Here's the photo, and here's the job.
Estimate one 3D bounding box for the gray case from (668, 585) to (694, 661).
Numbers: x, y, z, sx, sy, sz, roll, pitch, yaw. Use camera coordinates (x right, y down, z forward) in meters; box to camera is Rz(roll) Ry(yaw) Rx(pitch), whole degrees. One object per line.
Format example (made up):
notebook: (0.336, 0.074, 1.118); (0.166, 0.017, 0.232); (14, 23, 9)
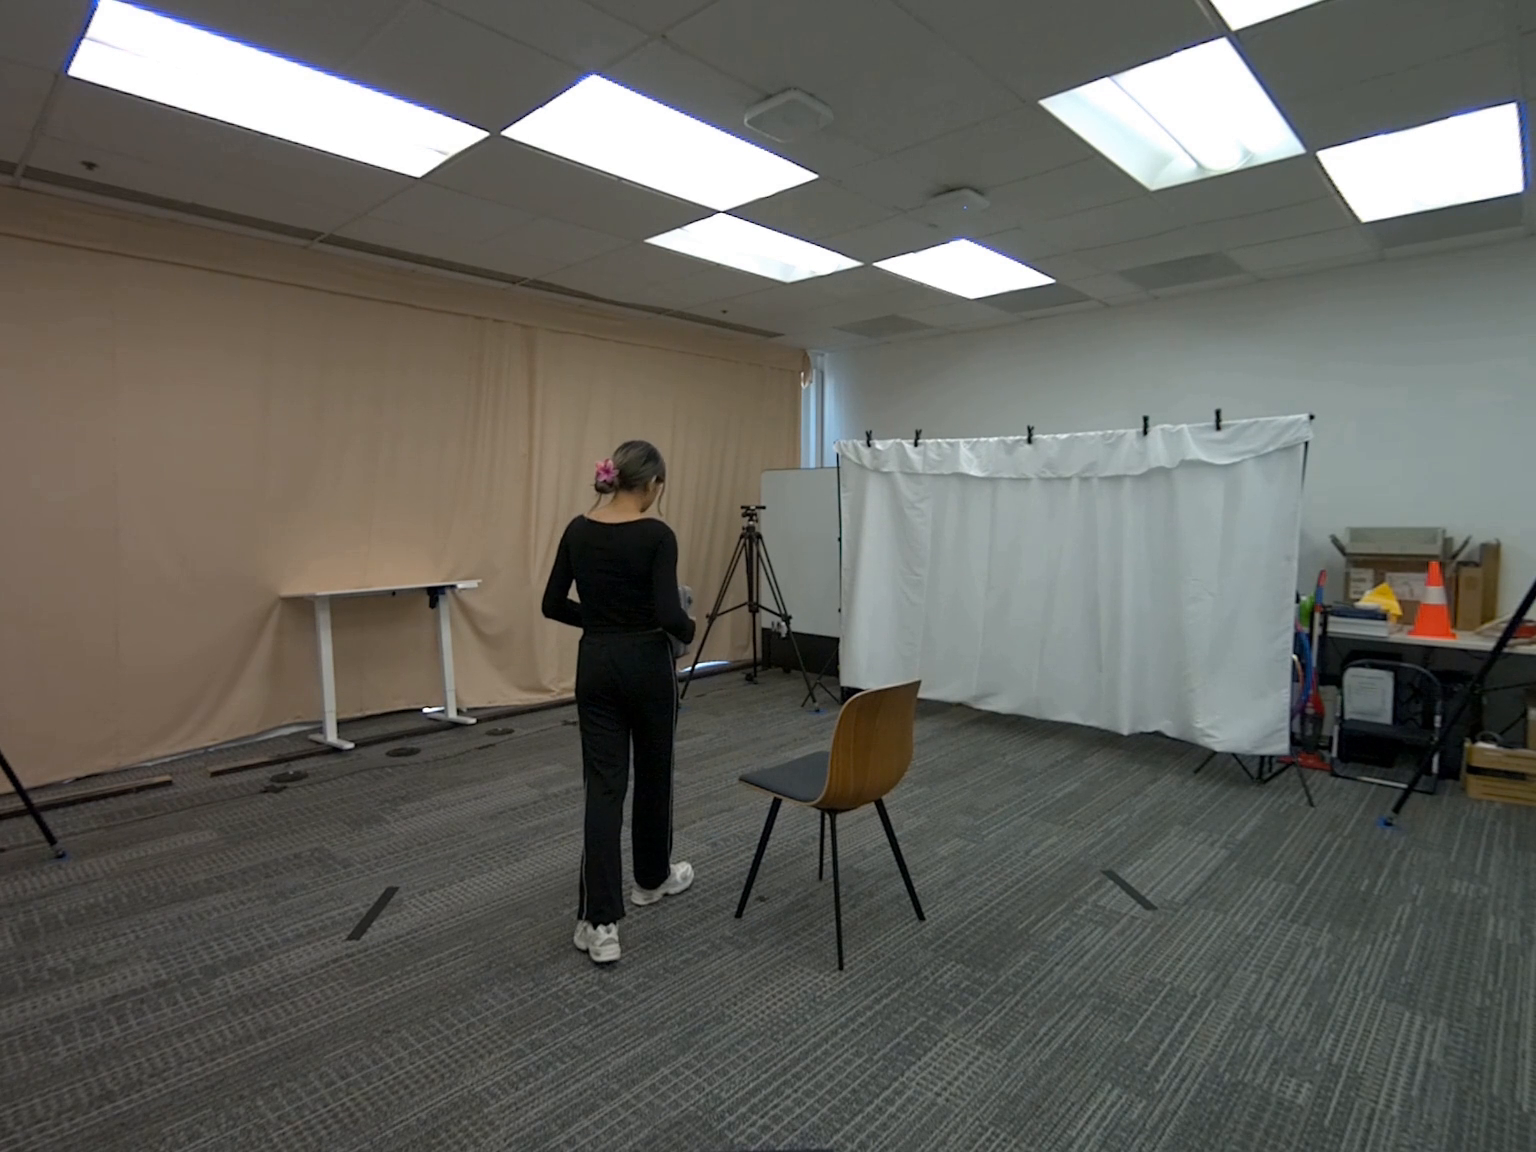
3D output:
gray case: (-0.407, 0.151, 3.004); (0.264, 0.261, 0.101); (-1, -4, 29)
